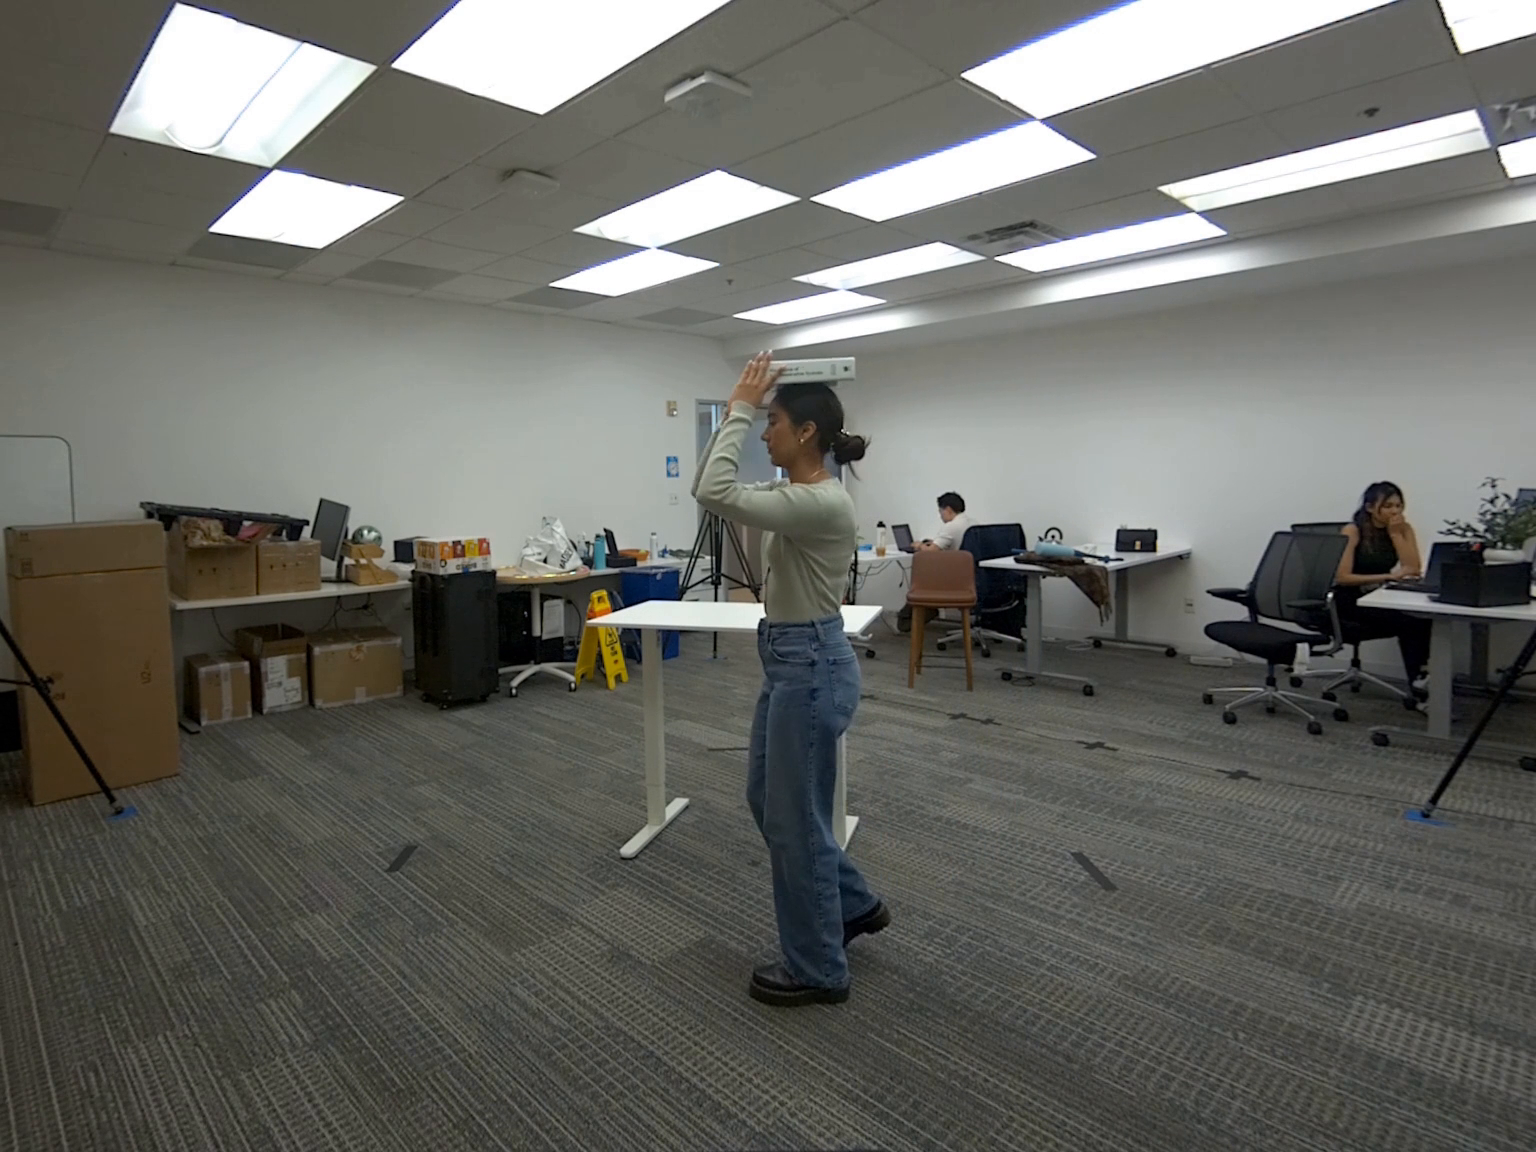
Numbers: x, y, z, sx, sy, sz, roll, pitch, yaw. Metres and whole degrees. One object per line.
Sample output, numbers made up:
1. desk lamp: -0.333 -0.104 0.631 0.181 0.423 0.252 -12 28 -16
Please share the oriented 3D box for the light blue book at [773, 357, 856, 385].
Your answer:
1. light blue book: 0.084 -0.540 2.260 0.261 0.058 0.193 -3 12 0
